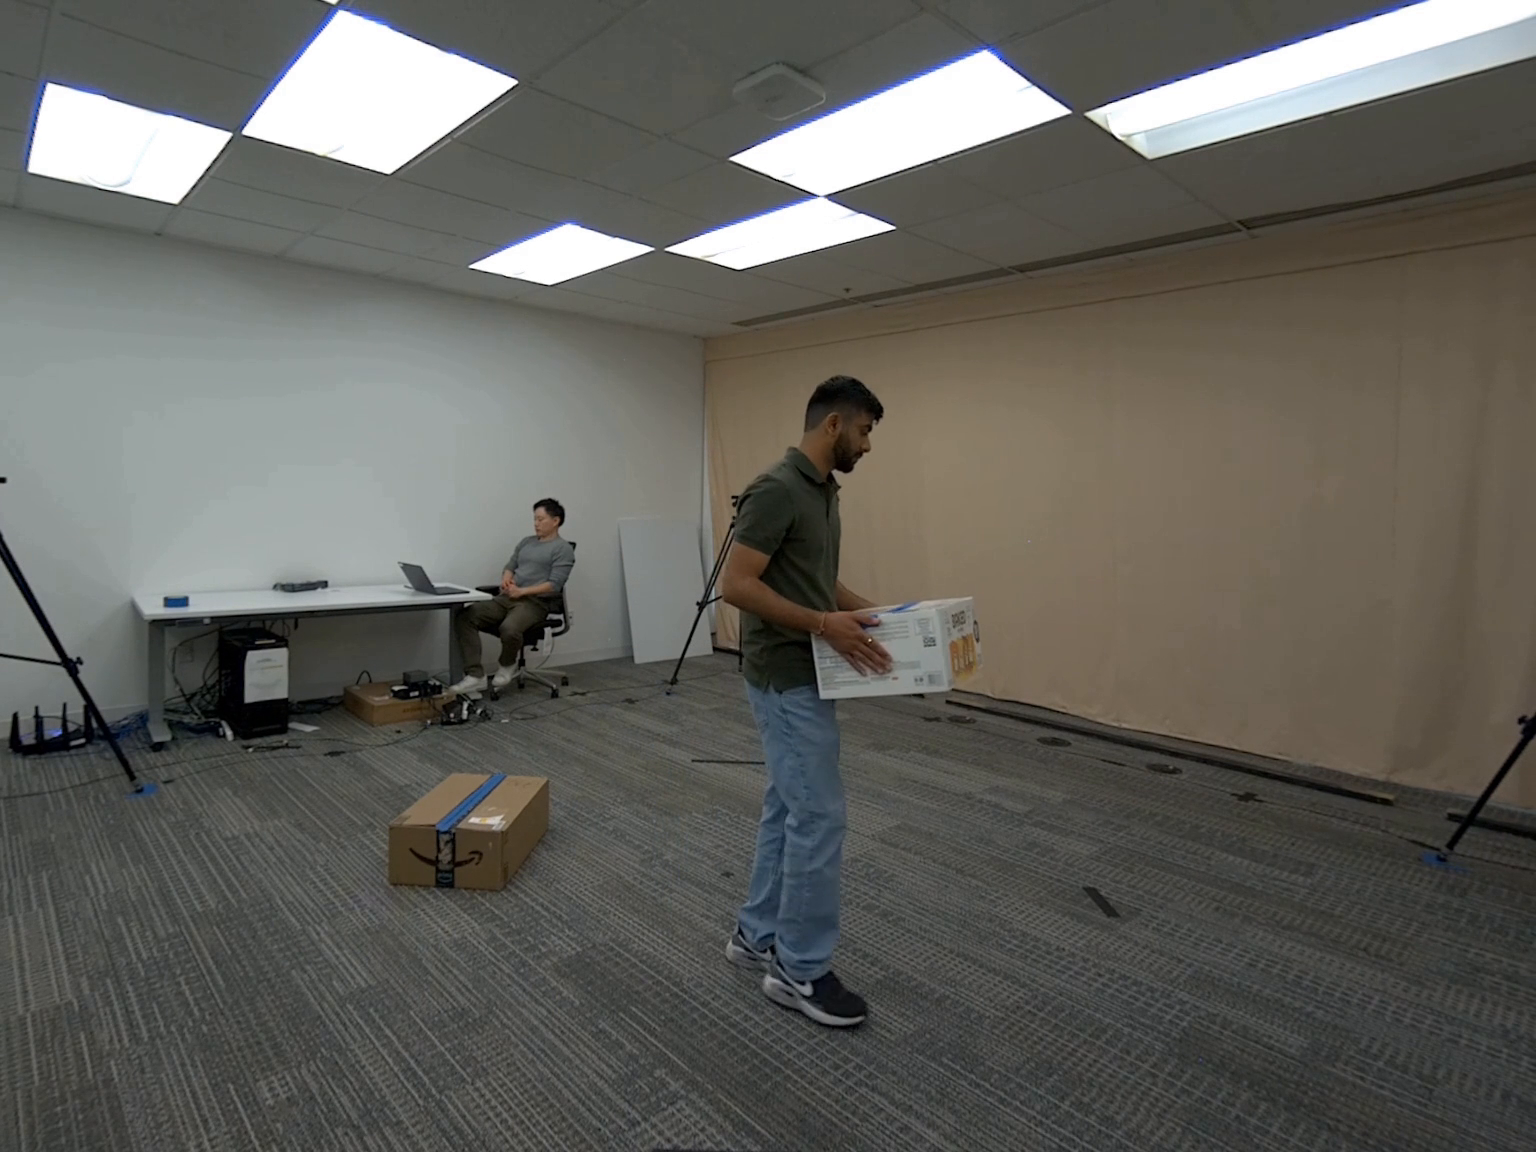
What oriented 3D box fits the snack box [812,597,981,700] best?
[{"bbox_3d":[0.347,0.191,2.265,0.346,0.206,0.397,-9,-1,28],"label":"snack box"}]
